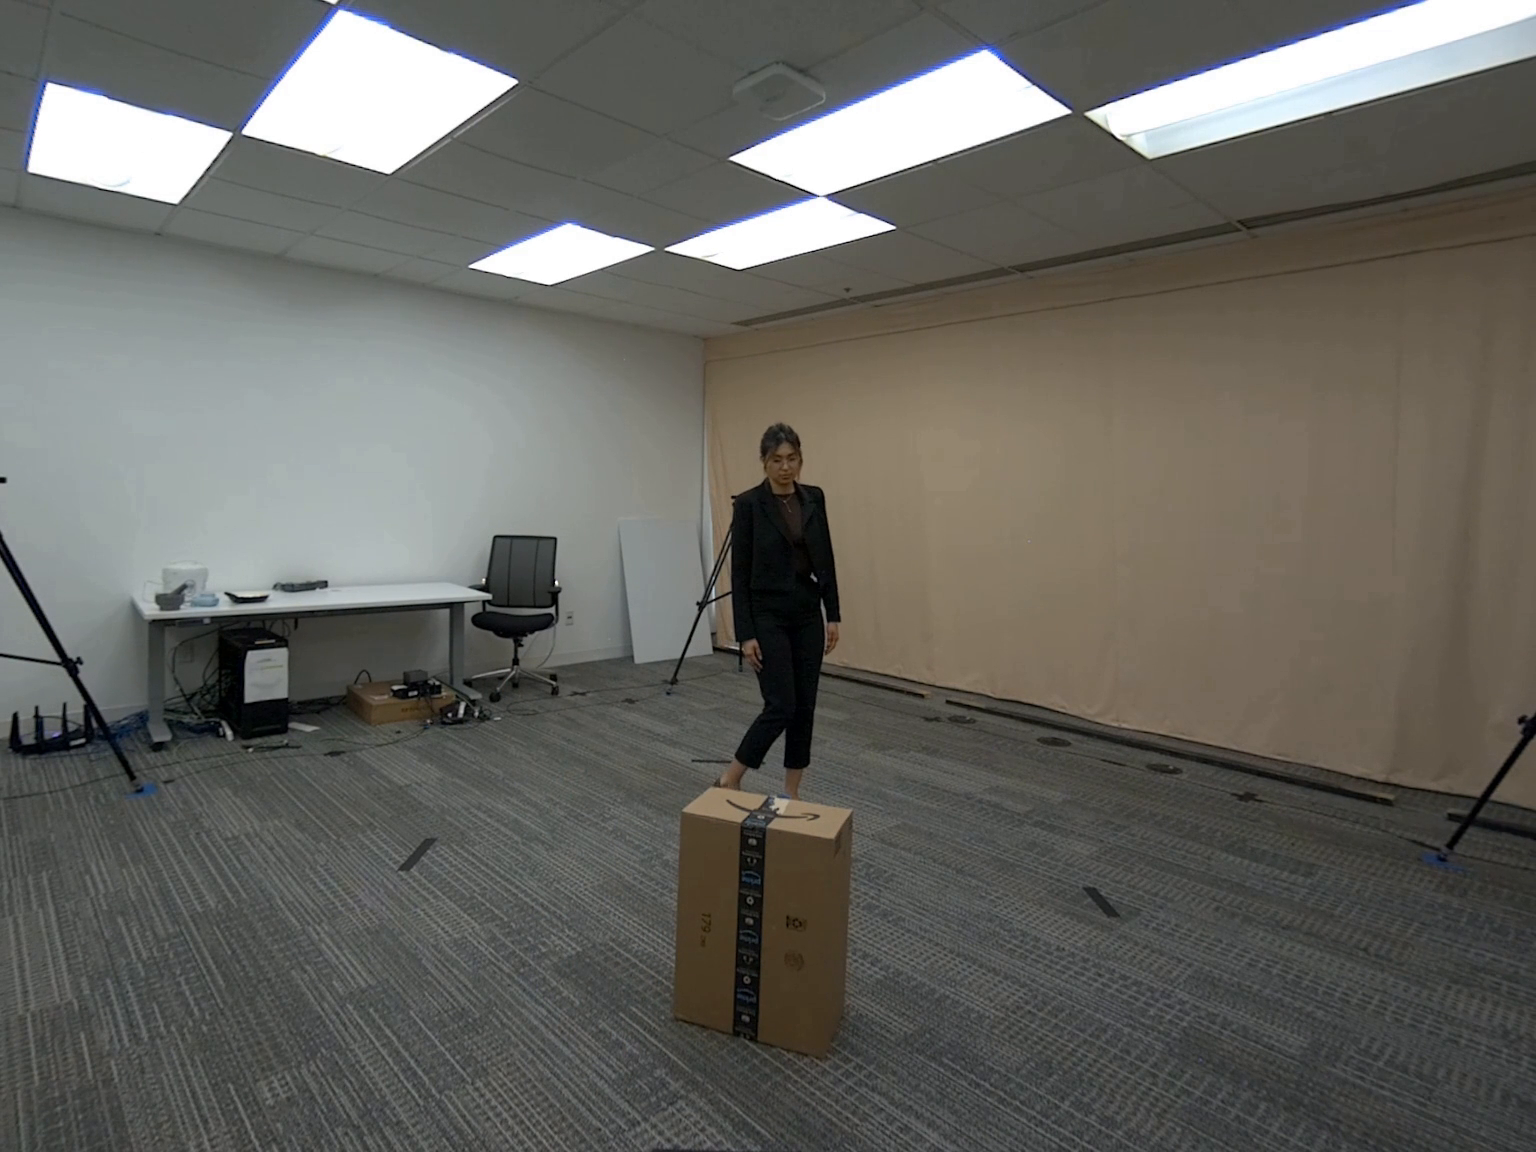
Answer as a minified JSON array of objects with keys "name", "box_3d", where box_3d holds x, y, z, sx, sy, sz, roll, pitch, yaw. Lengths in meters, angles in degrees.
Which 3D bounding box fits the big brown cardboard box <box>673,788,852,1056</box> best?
[{"name":"big brown cardboard box","box_3d":[-0.015,0.910,2.240,0.424,0.587,0.230,4,5,20]}]
